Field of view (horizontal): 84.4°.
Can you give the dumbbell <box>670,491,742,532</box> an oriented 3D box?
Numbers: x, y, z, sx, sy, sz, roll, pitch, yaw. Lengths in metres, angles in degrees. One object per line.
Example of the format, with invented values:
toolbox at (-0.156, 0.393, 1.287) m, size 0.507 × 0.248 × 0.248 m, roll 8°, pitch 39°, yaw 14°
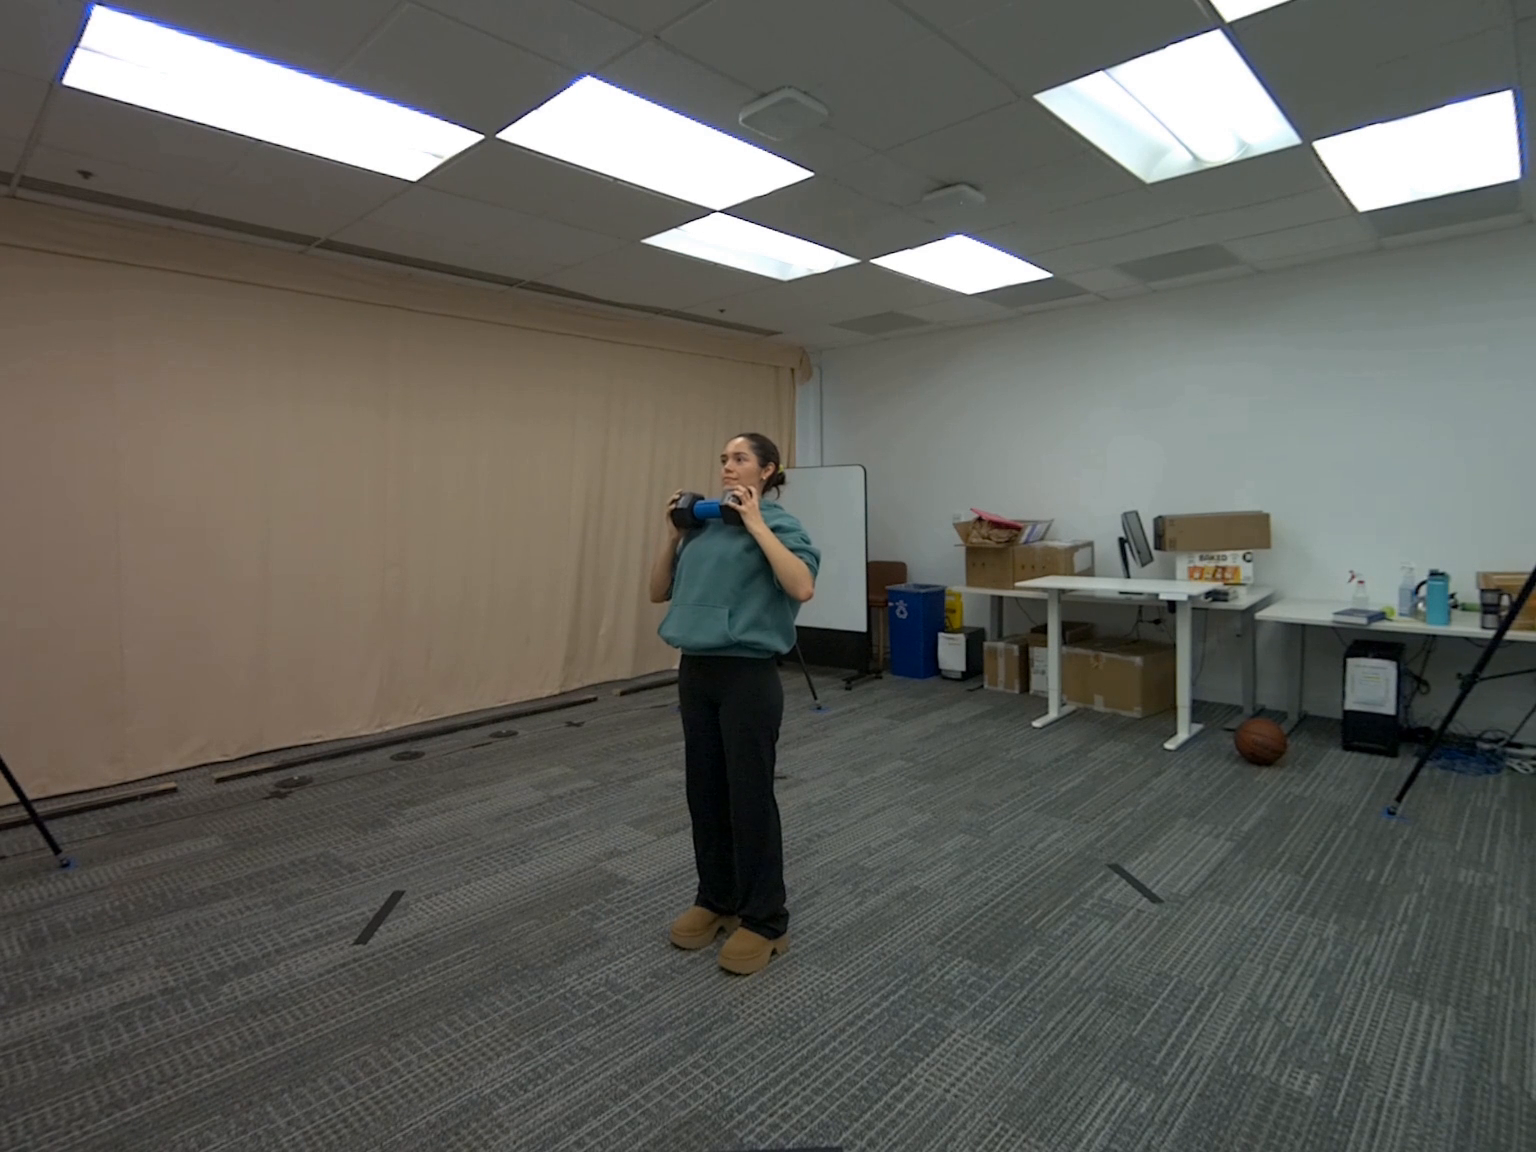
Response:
dumbbell at (-0.152, -0.205, 2.592) m, size 0.303 × 0.121 × 0.107 m, roll -3°, pitch 26°, yaw 40°
